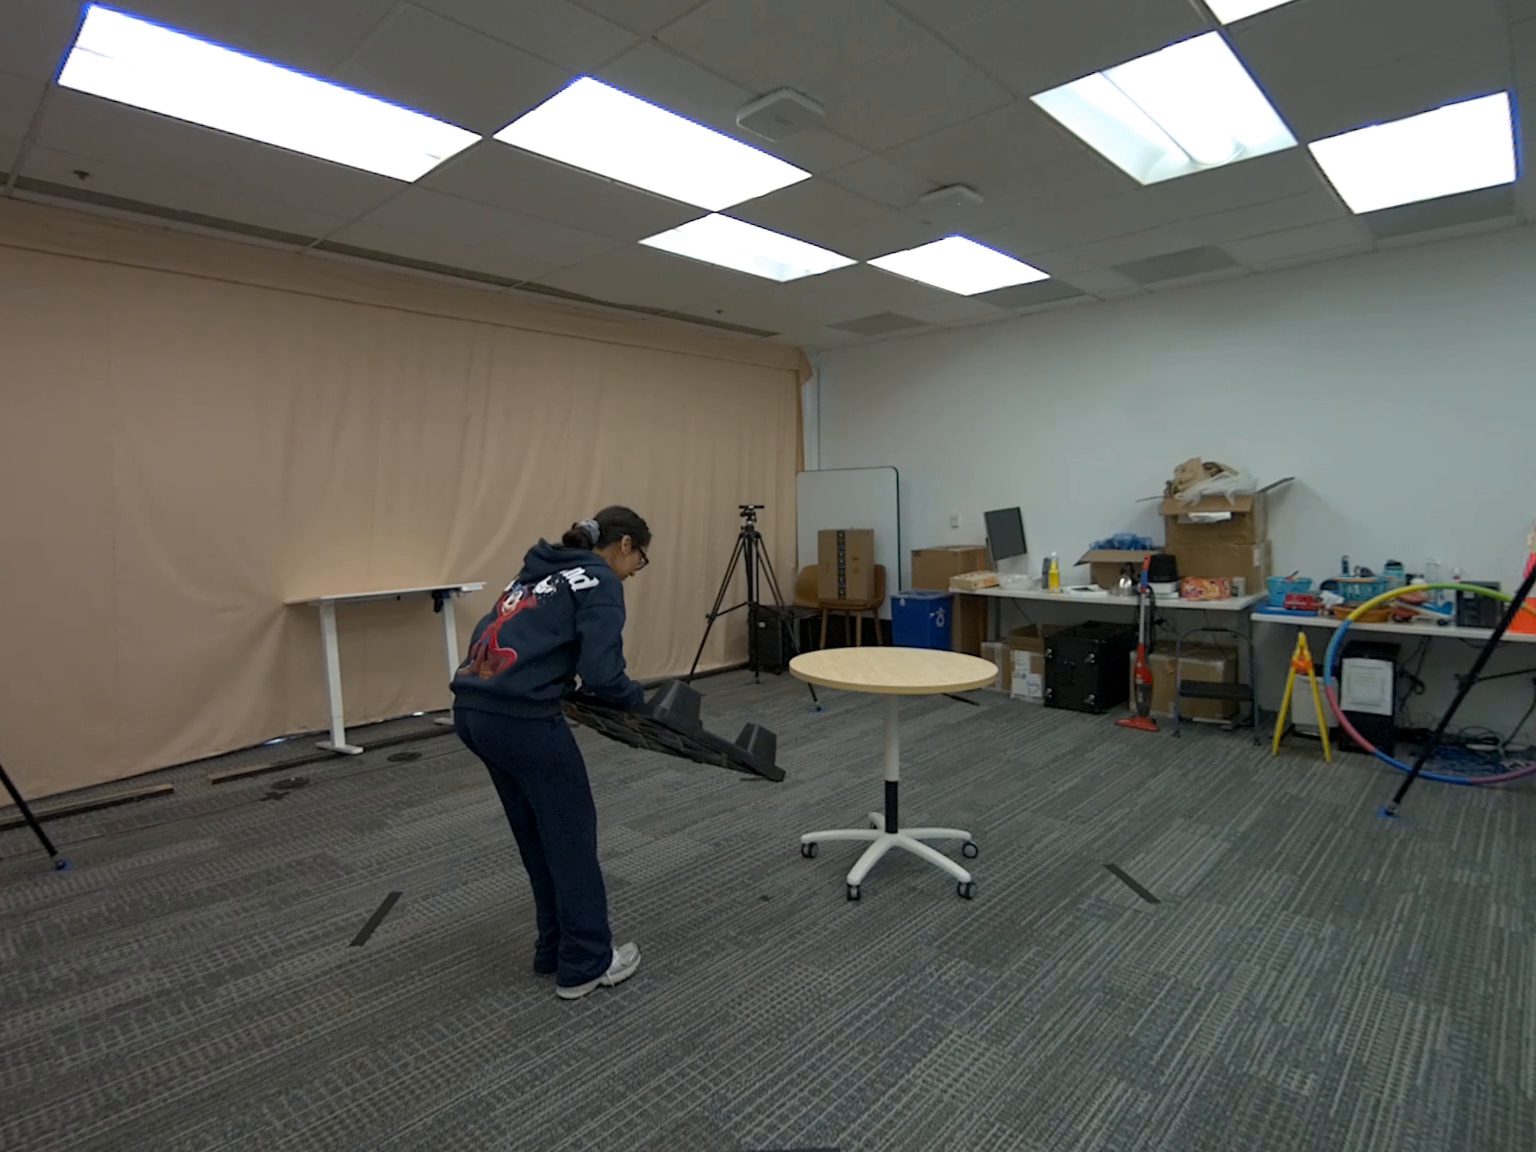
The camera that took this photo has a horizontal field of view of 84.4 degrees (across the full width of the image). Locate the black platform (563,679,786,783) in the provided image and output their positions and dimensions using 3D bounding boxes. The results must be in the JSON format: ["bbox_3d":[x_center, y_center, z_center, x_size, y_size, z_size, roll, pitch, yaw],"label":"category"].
[{"bbox_3d":[-0.396,0.463,2.745,0.832,0.144,0.583,1,-27,44],"label":"black platform"}]
